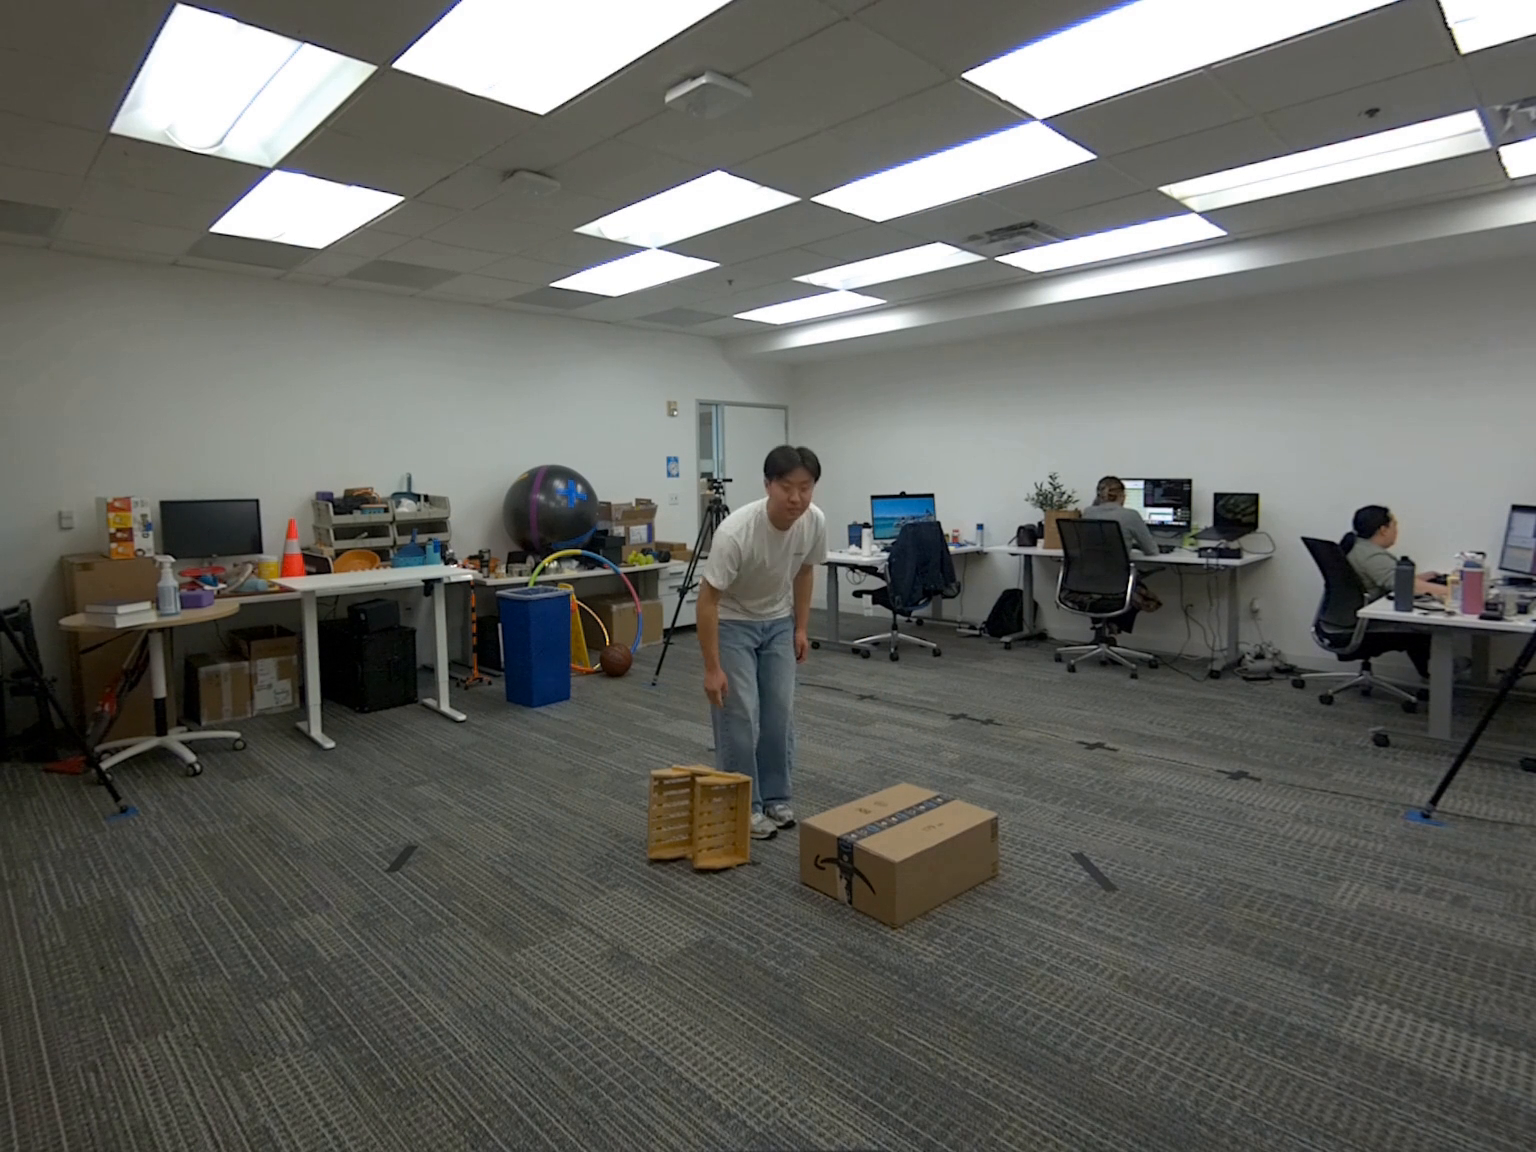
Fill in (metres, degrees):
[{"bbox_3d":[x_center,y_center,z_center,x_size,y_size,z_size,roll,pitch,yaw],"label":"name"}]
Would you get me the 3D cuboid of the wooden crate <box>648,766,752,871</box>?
[{"bbox_3d":[-0.255,0.880,3.124,0.293,0.325,0.281,2,-2,-37],"label":"wooden crate"}]
